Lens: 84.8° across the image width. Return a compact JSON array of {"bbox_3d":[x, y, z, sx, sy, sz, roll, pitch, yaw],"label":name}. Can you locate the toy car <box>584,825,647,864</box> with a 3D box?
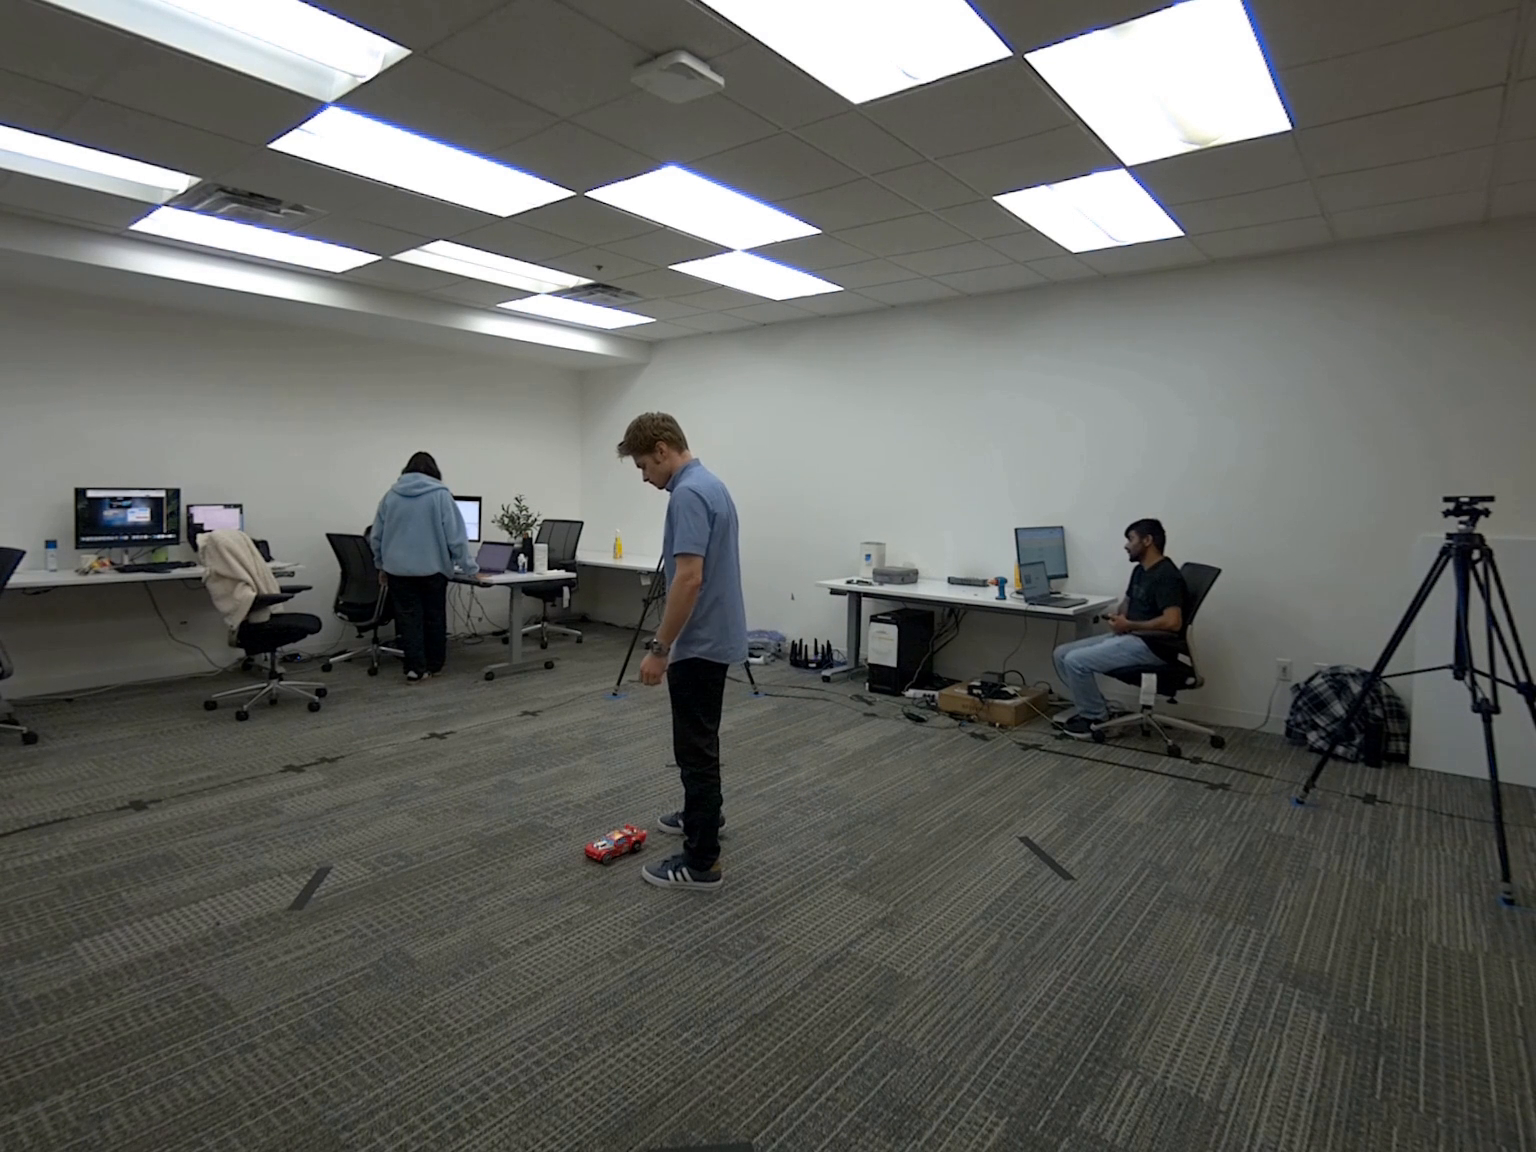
[{"bbox_3d":[-0.582,1.017,3.238,0.135,0.082,0.249,4,17,43],"label":"toy car"}]
